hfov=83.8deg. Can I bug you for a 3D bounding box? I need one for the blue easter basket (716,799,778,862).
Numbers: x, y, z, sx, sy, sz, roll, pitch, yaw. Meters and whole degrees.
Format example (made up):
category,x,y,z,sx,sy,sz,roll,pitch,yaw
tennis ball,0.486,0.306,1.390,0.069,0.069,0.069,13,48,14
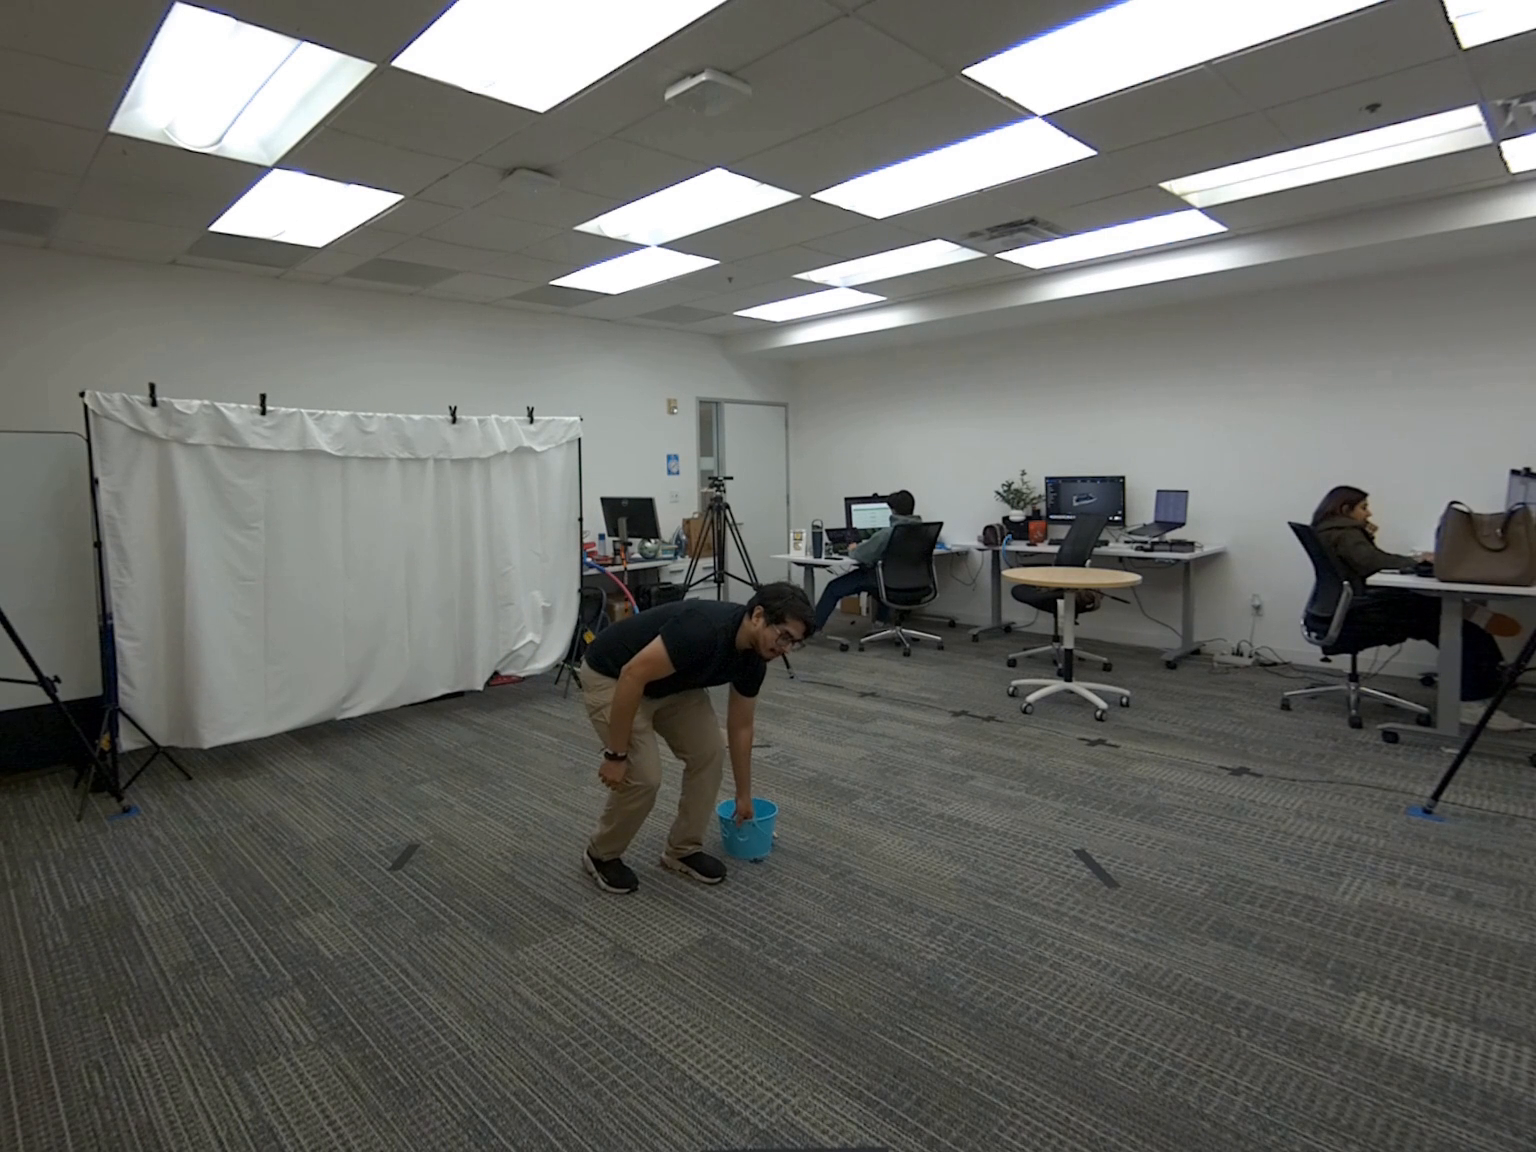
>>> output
category,x,y,z,sx,sy,sz,roll,pitch,yaw
blue easter basket,-0.070,0.949,3.209,0.243,0.155,0.245,-1,6,-2
